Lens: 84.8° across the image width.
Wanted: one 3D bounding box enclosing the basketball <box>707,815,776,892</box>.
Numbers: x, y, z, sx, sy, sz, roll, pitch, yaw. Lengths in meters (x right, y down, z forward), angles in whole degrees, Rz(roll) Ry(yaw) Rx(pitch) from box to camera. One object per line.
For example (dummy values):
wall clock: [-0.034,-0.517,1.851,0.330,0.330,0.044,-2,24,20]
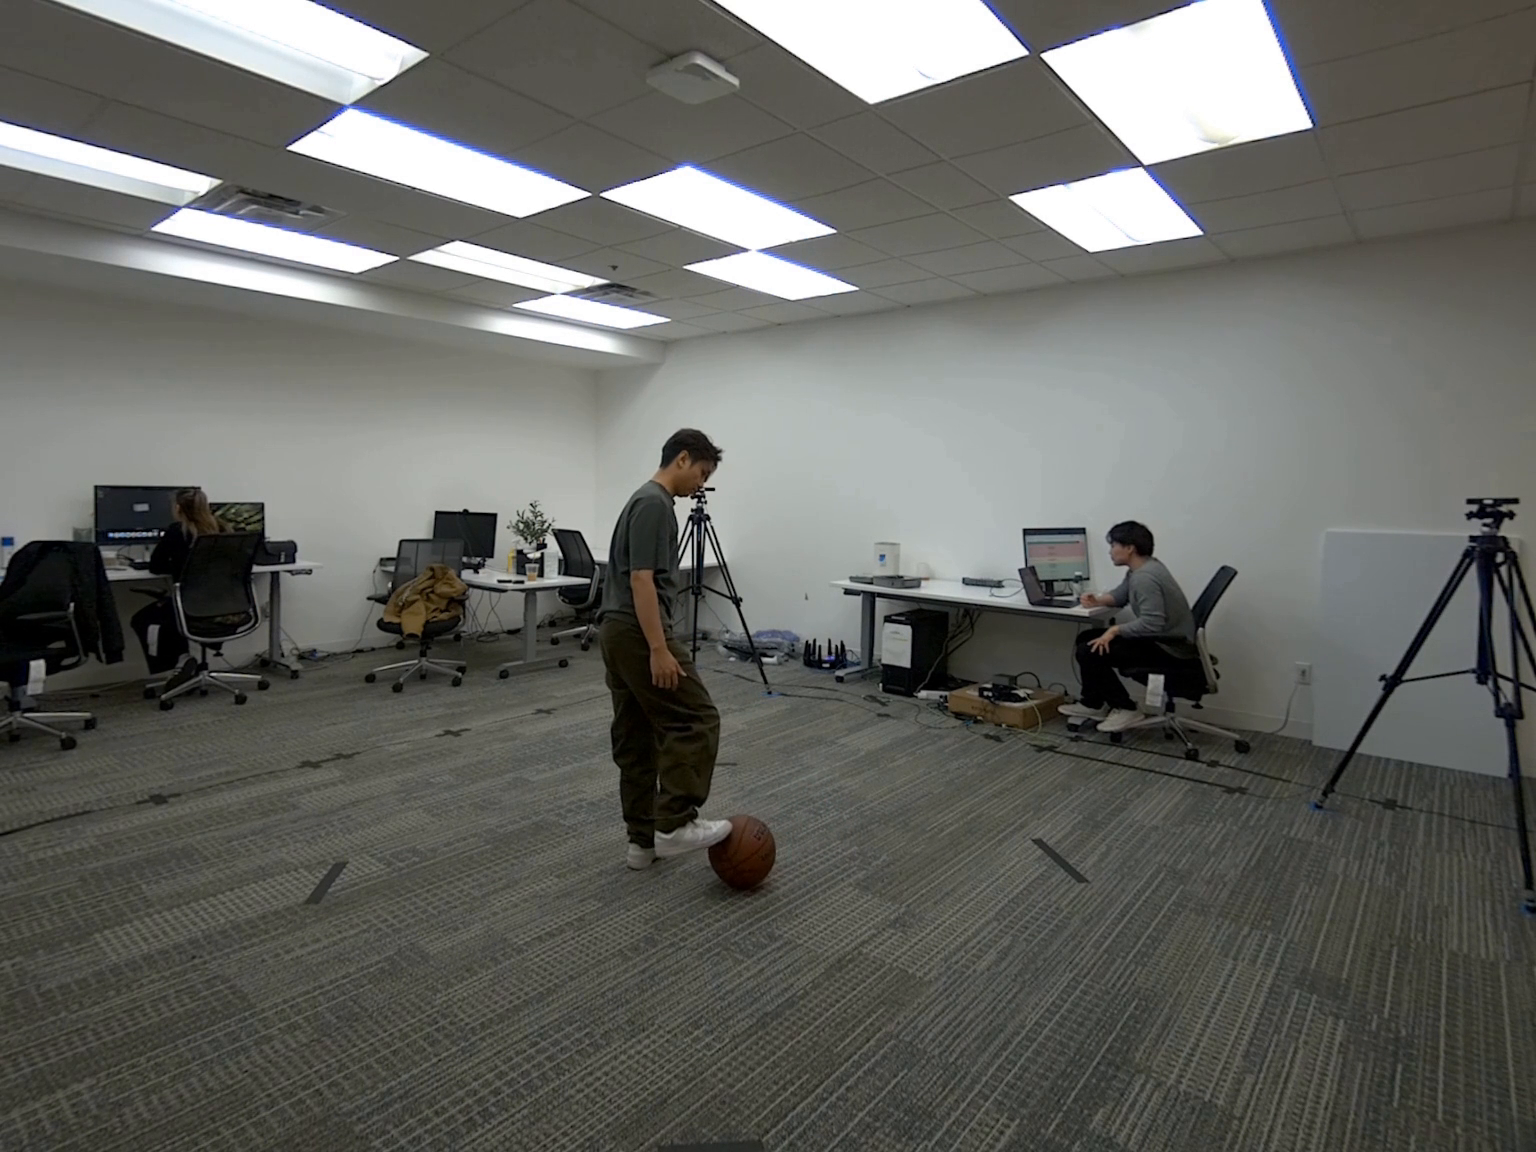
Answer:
basketball: [-0.098,0.960,2.992,0.235,0.235,0.237,1,4,-2]
